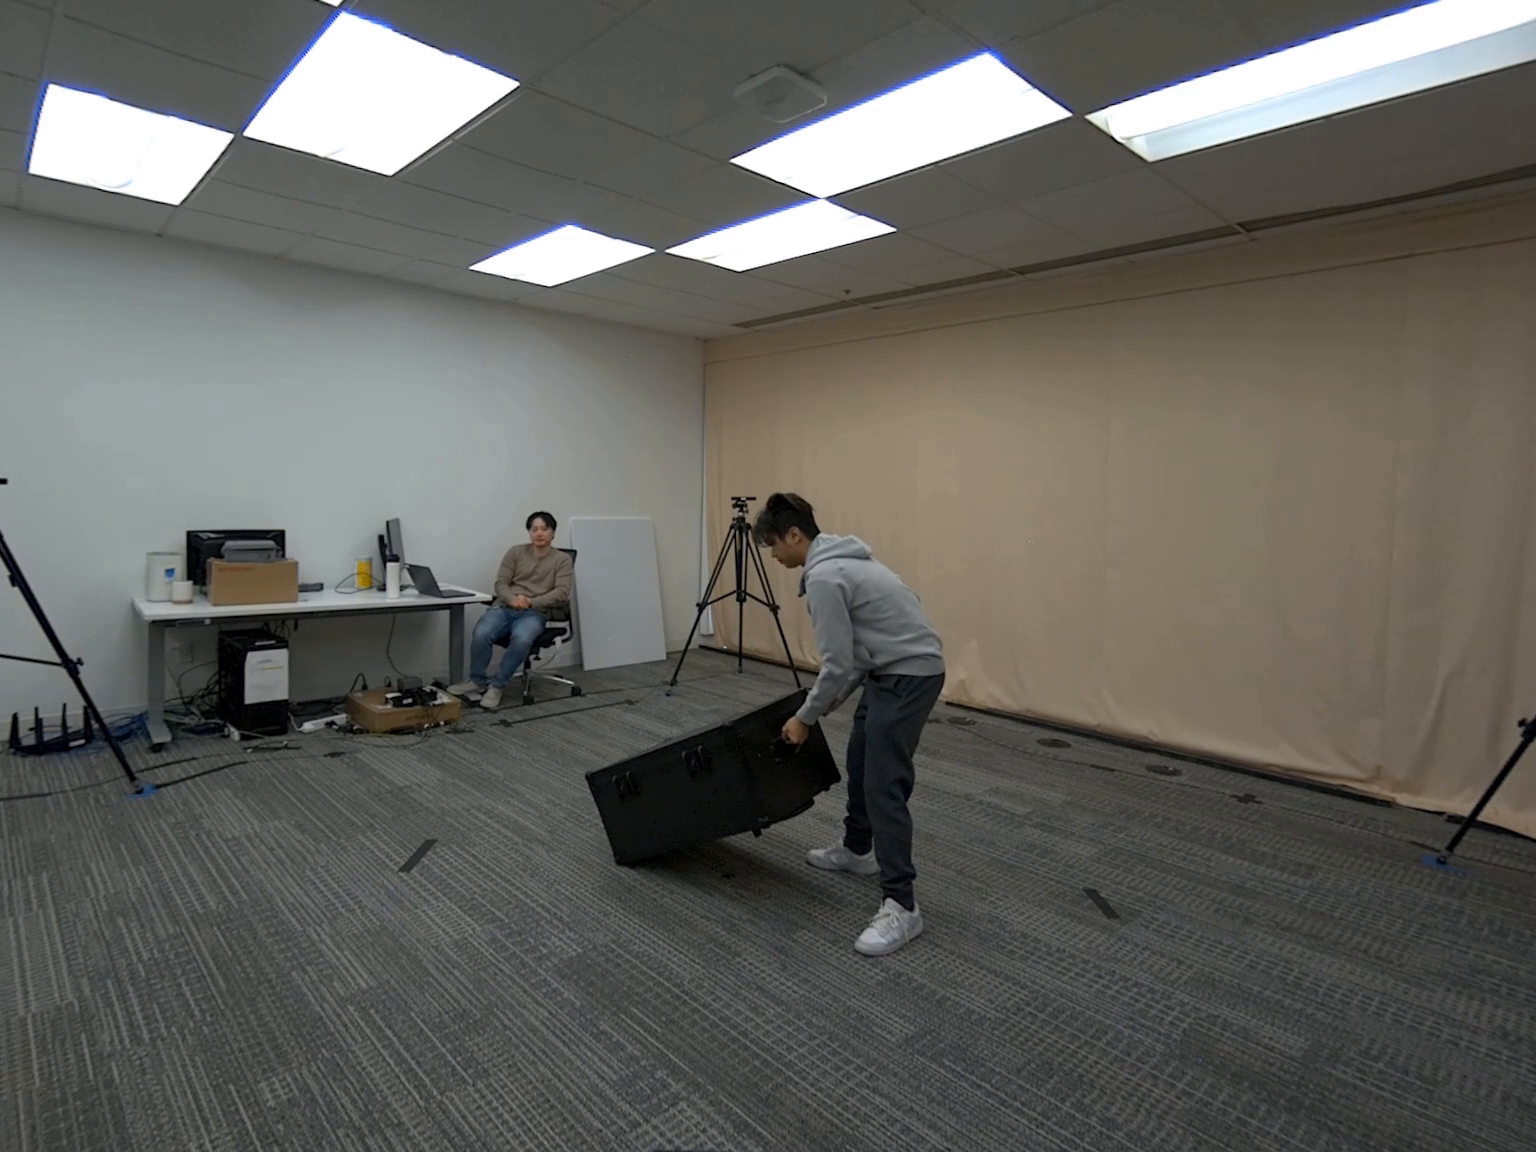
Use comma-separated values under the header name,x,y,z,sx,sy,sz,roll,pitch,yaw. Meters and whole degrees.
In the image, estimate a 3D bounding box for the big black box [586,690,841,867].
name,x,y,z,sx,sy,sz,roll,pitch,yaw
big black box,-0.243,0.779,3.183,0.870,0.399,0.511,-26,-9,36
